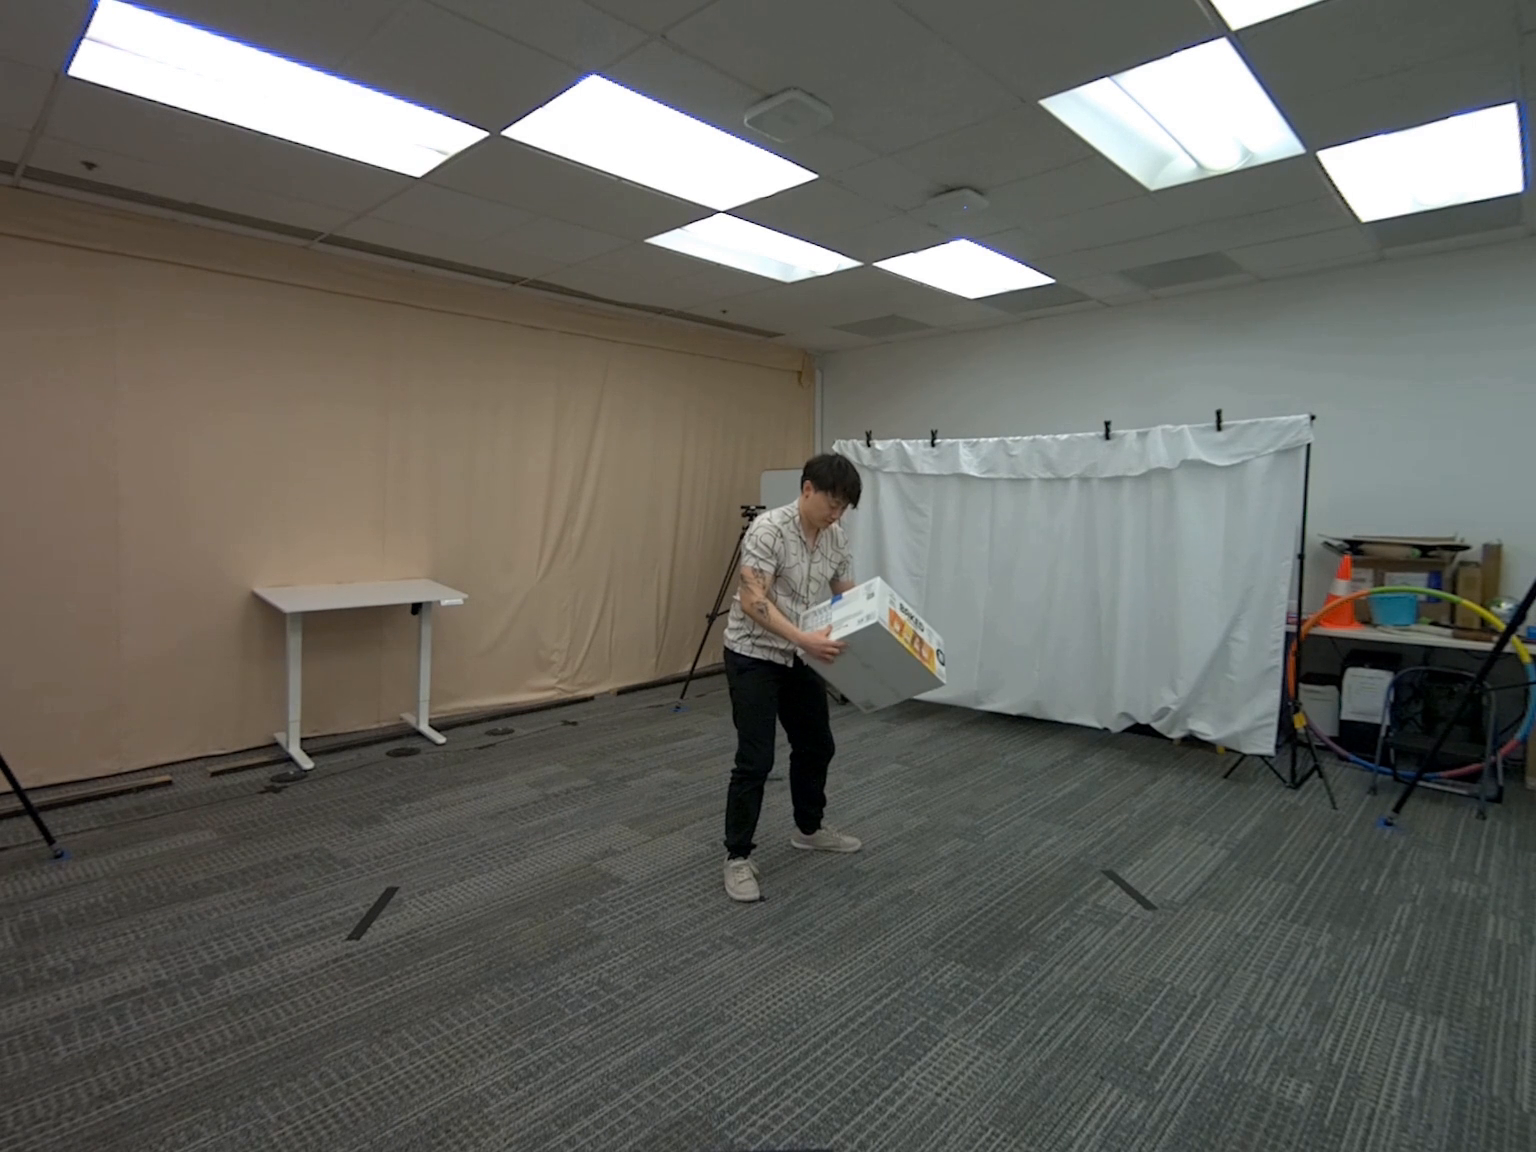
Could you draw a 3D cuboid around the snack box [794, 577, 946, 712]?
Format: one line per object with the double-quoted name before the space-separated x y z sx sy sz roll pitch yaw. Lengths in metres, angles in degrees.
"snack box" 0.370 0.254 2.968 0.346 0.208 0.393 -29 -56 32
